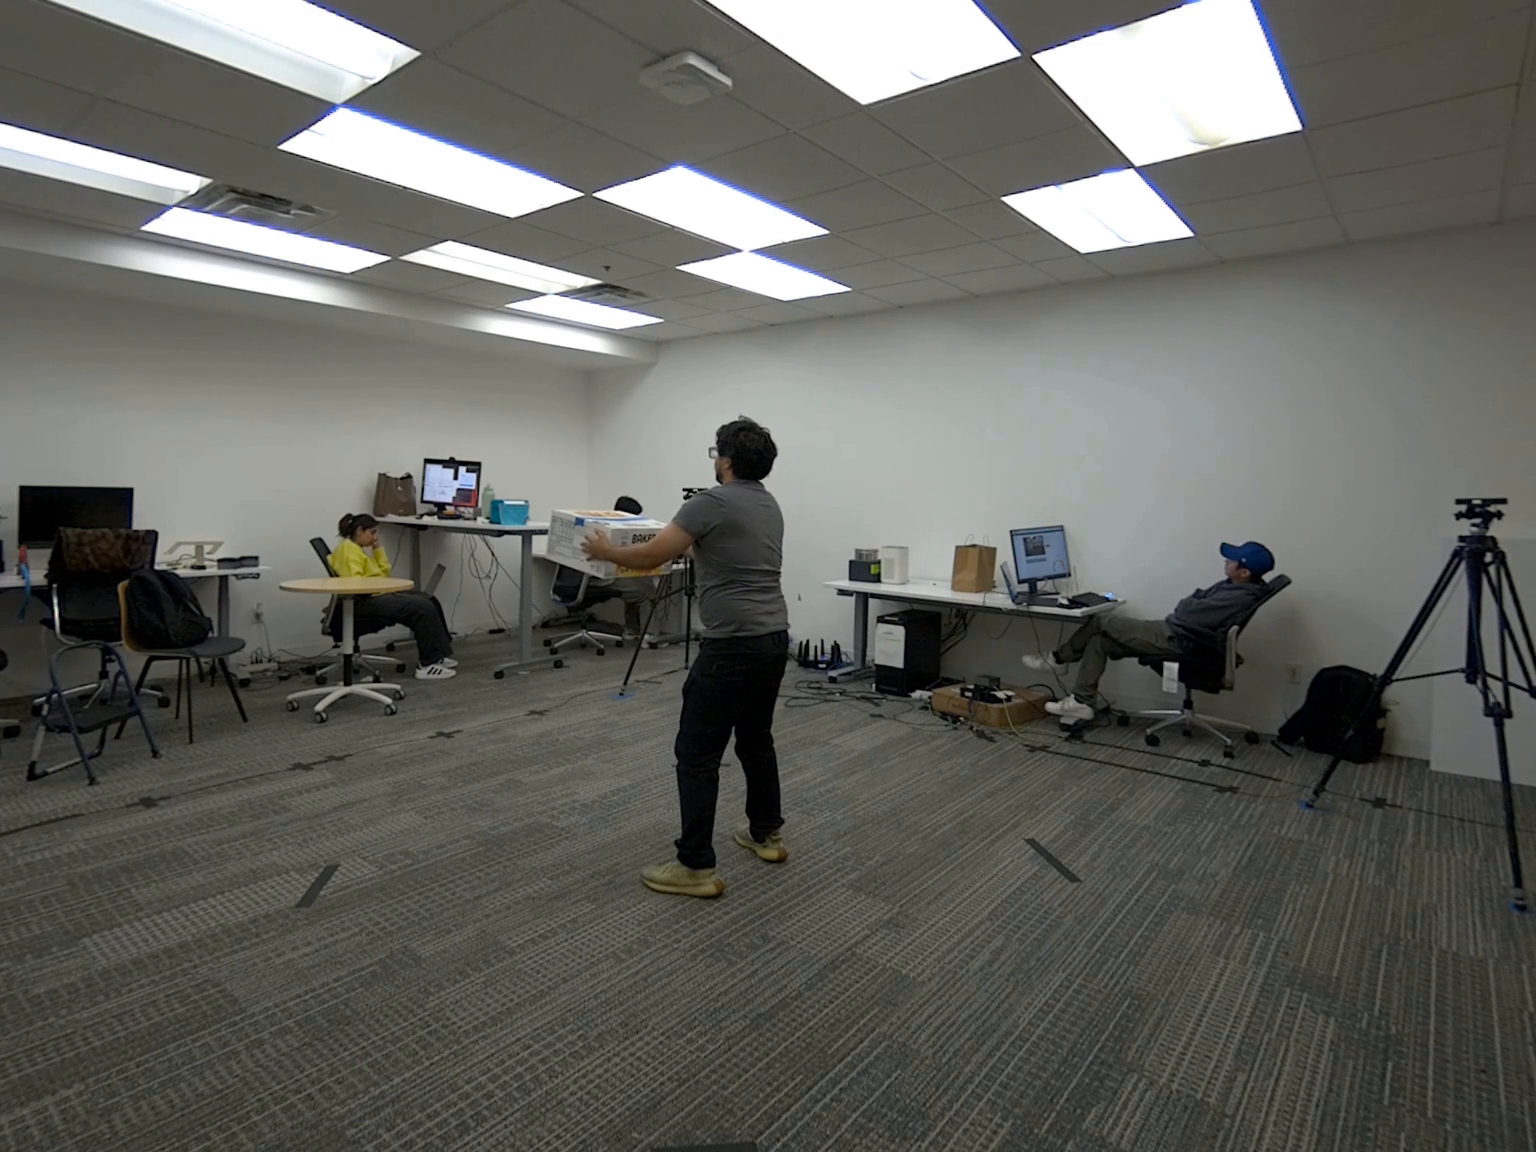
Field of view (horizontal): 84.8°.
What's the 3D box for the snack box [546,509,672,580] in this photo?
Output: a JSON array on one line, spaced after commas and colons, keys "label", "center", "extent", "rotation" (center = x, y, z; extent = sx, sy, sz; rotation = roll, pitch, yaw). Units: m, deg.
[{"label": "snack box", "center": [-0.650, -0.137, 3.493], "extent": [0.352, 0.204, 0.394], "rotation": [15, 11, 33]}]
